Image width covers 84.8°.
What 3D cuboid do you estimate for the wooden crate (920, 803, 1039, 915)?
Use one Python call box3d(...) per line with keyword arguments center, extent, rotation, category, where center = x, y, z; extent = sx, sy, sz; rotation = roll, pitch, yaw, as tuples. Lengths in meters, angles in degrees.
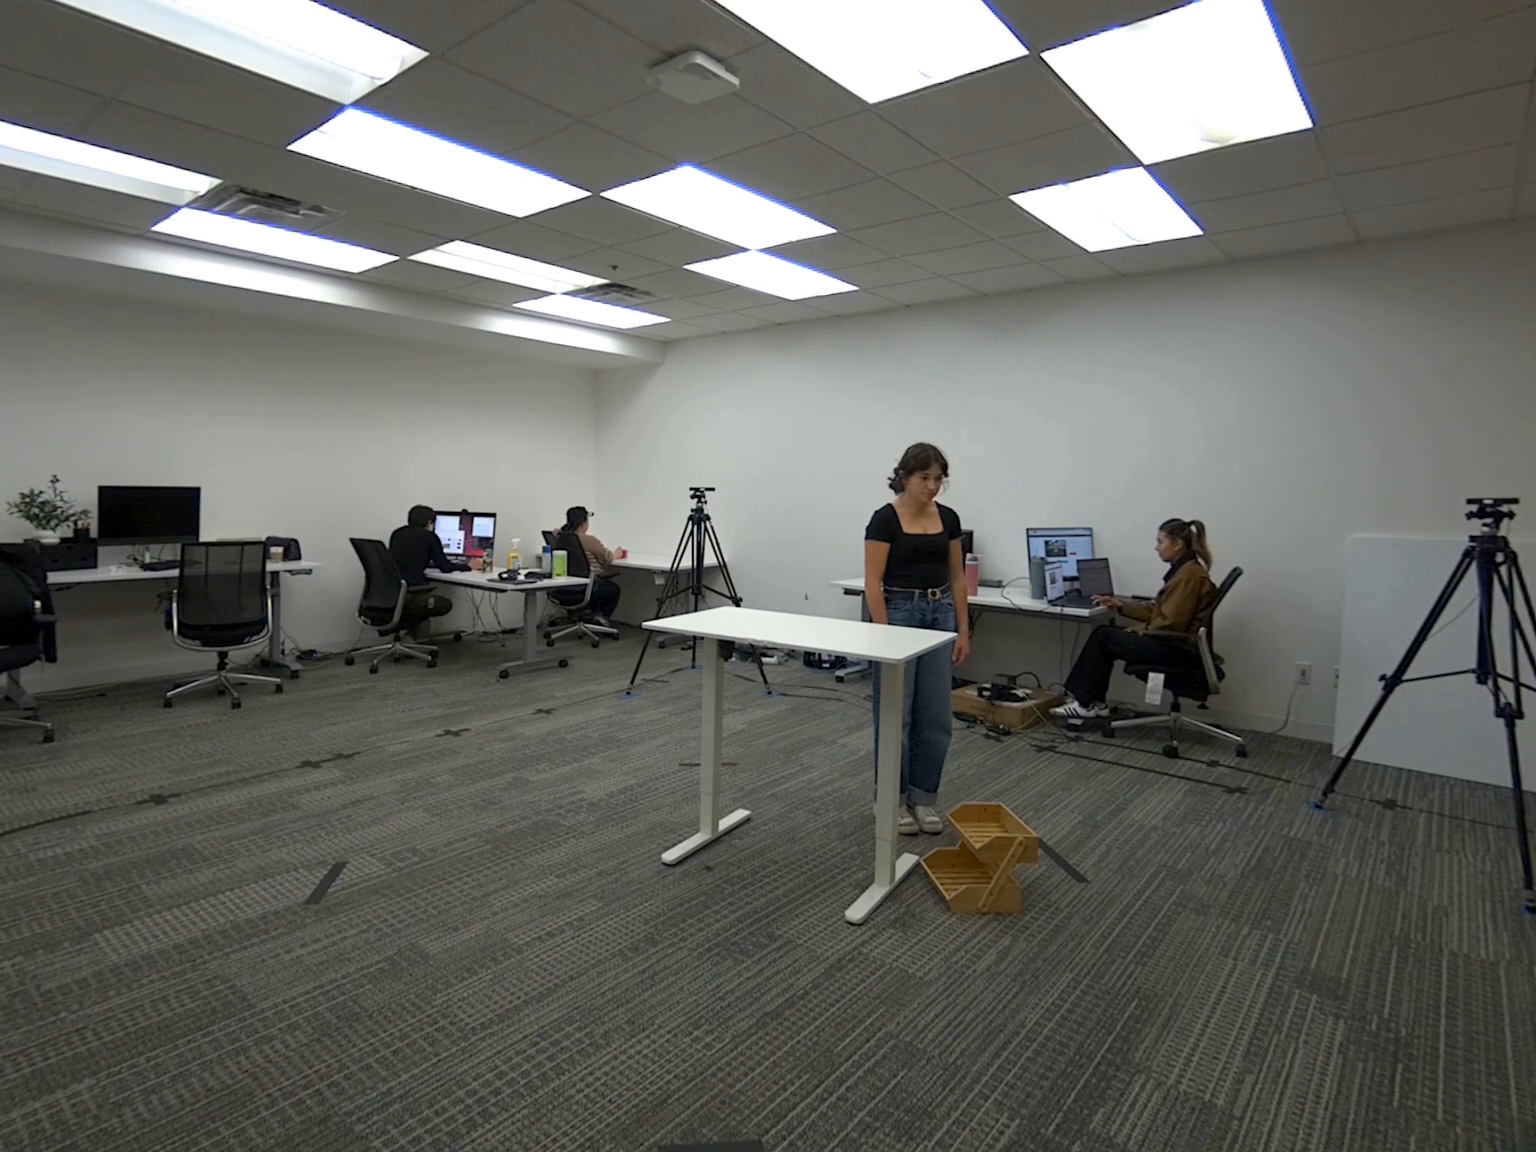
box3d(center=(0.703, 0.959, 2.978), extent=(0.300, 0.272, 0.328), rotation=(2, 4, -7), category="wooden crate")
